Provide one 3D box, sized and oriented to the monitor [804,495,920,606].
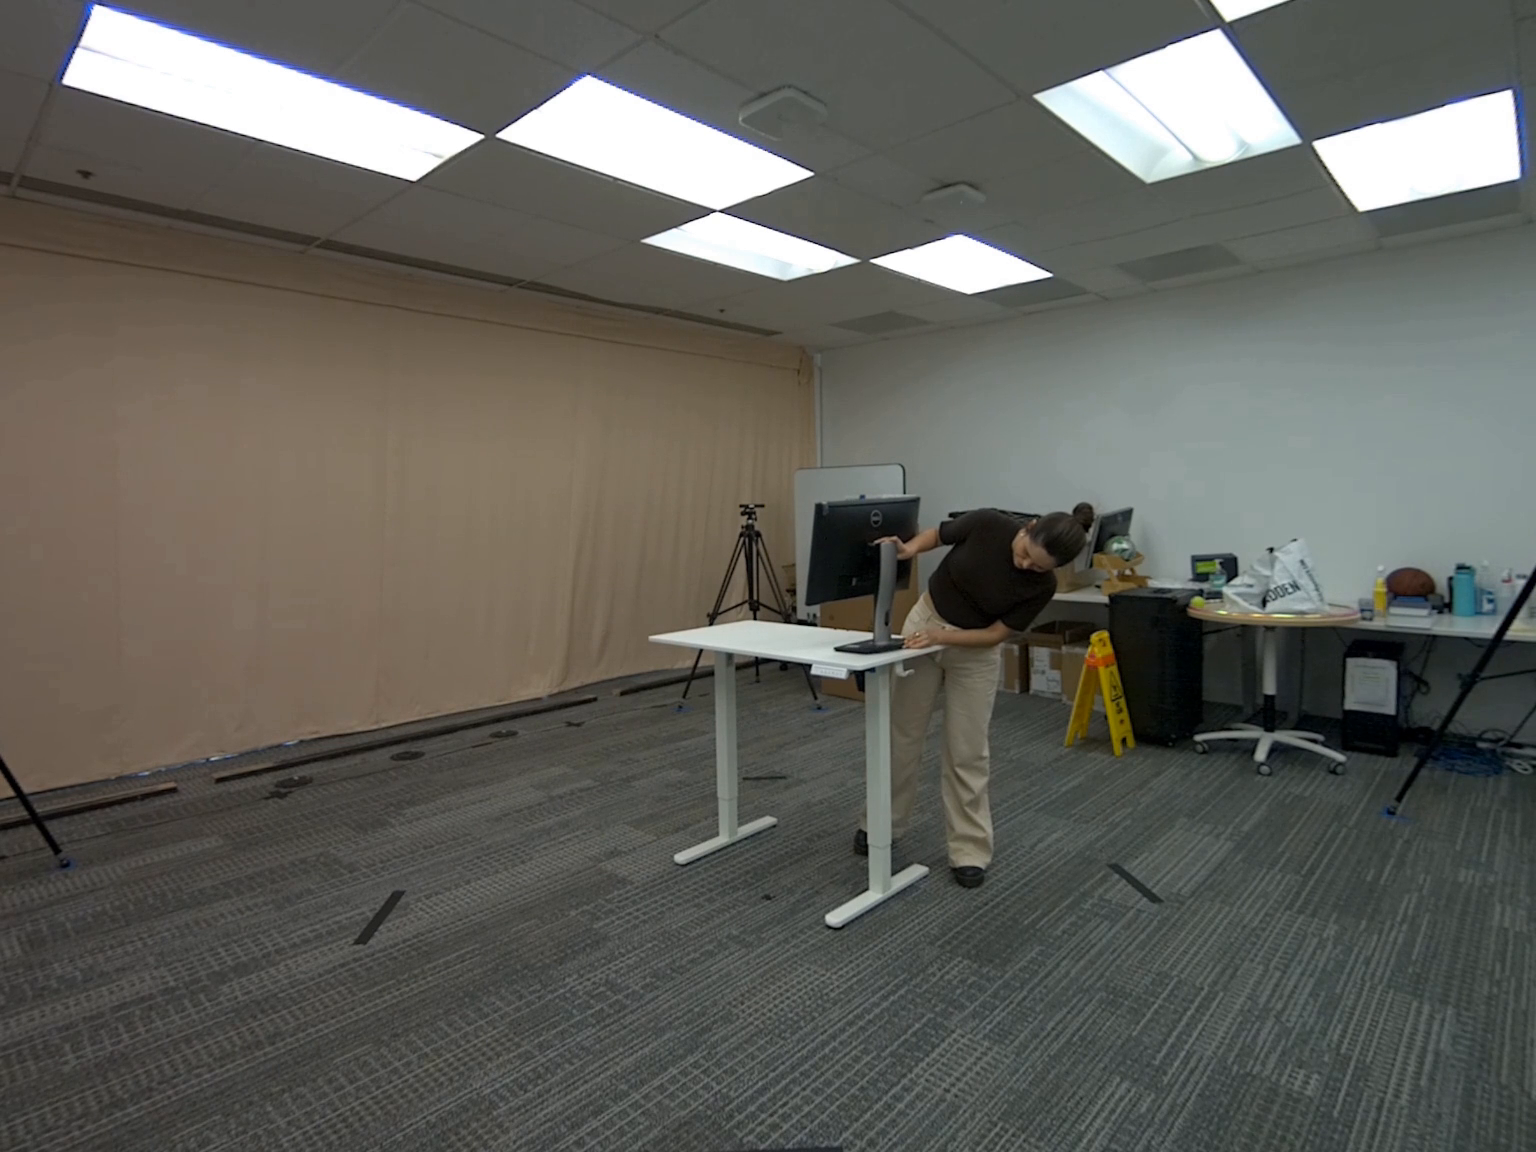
[{"bbox_3d":[0.379,-0.004,2.928,0.523,0.522,0.193,-6,3,-41],"label":"monitor"}]
